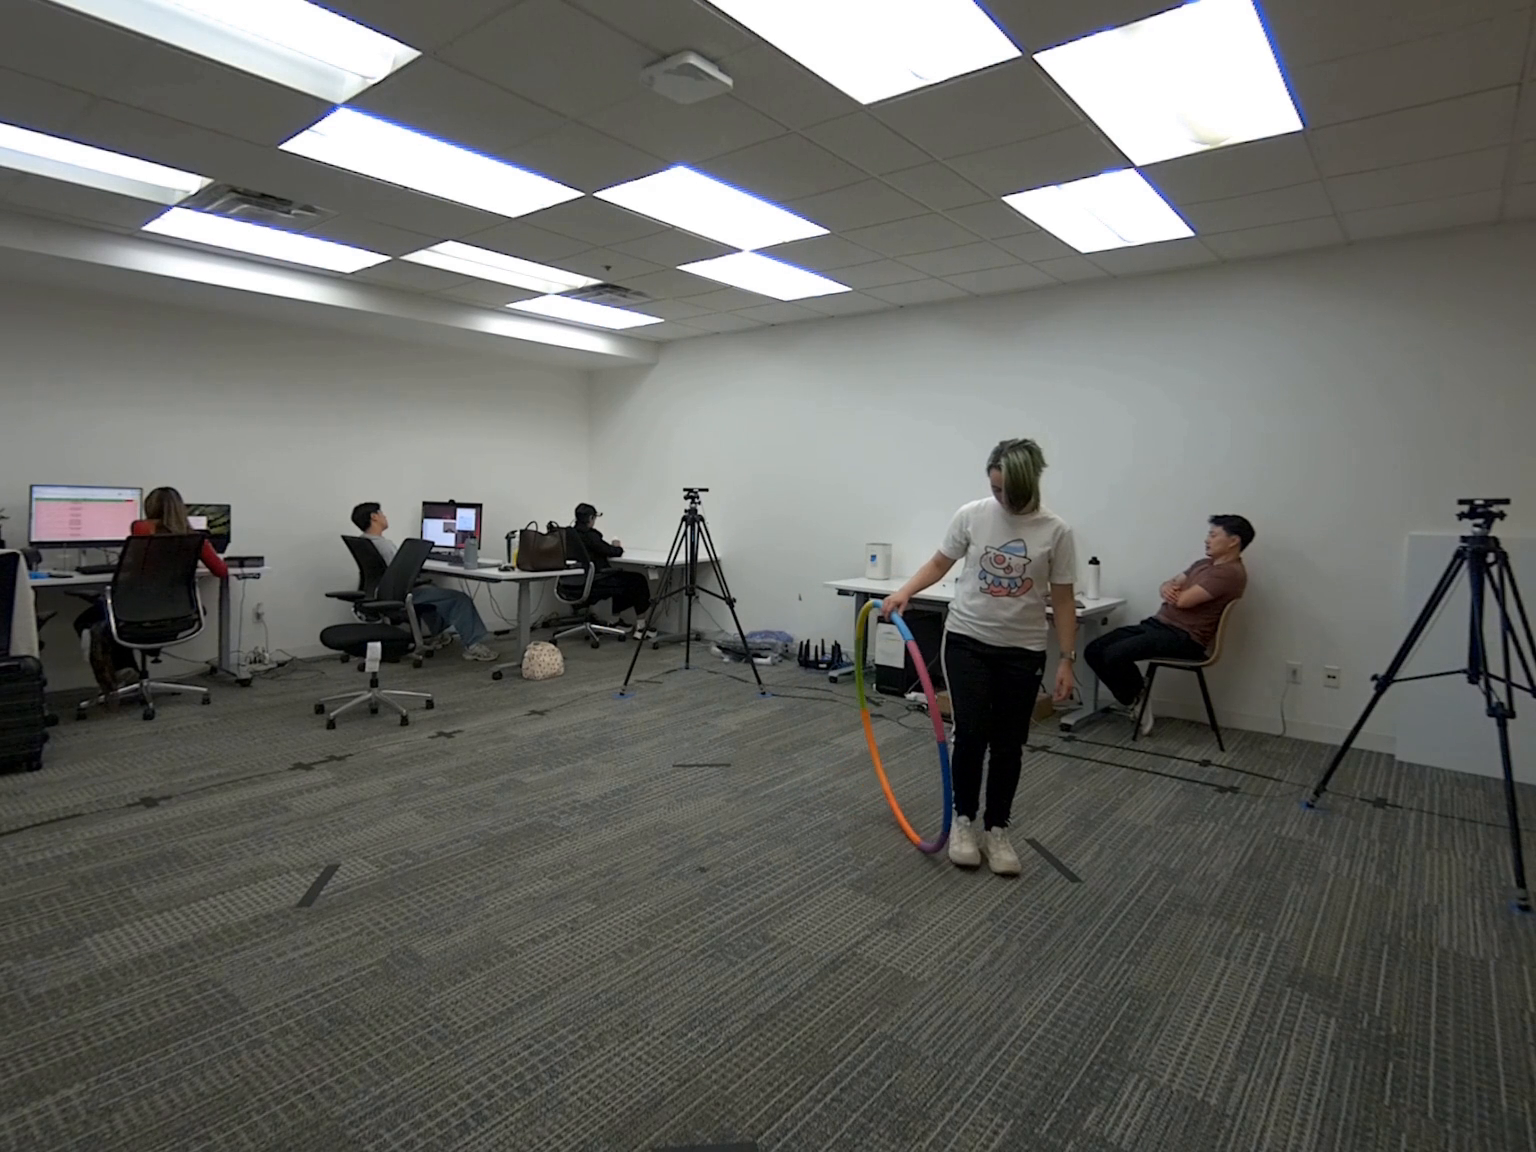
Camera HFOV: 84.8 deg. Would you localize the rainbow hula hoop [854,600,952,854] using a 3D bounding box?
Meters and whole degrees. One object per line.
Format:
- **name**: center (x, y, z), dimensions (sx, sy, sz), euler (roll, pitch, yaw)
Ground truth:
- **rainbow hula hoop**: center (0.506, 0.577, 3.356), dimensions (0.035, 0.973, 0.992), euler (-11, 6, -10)
